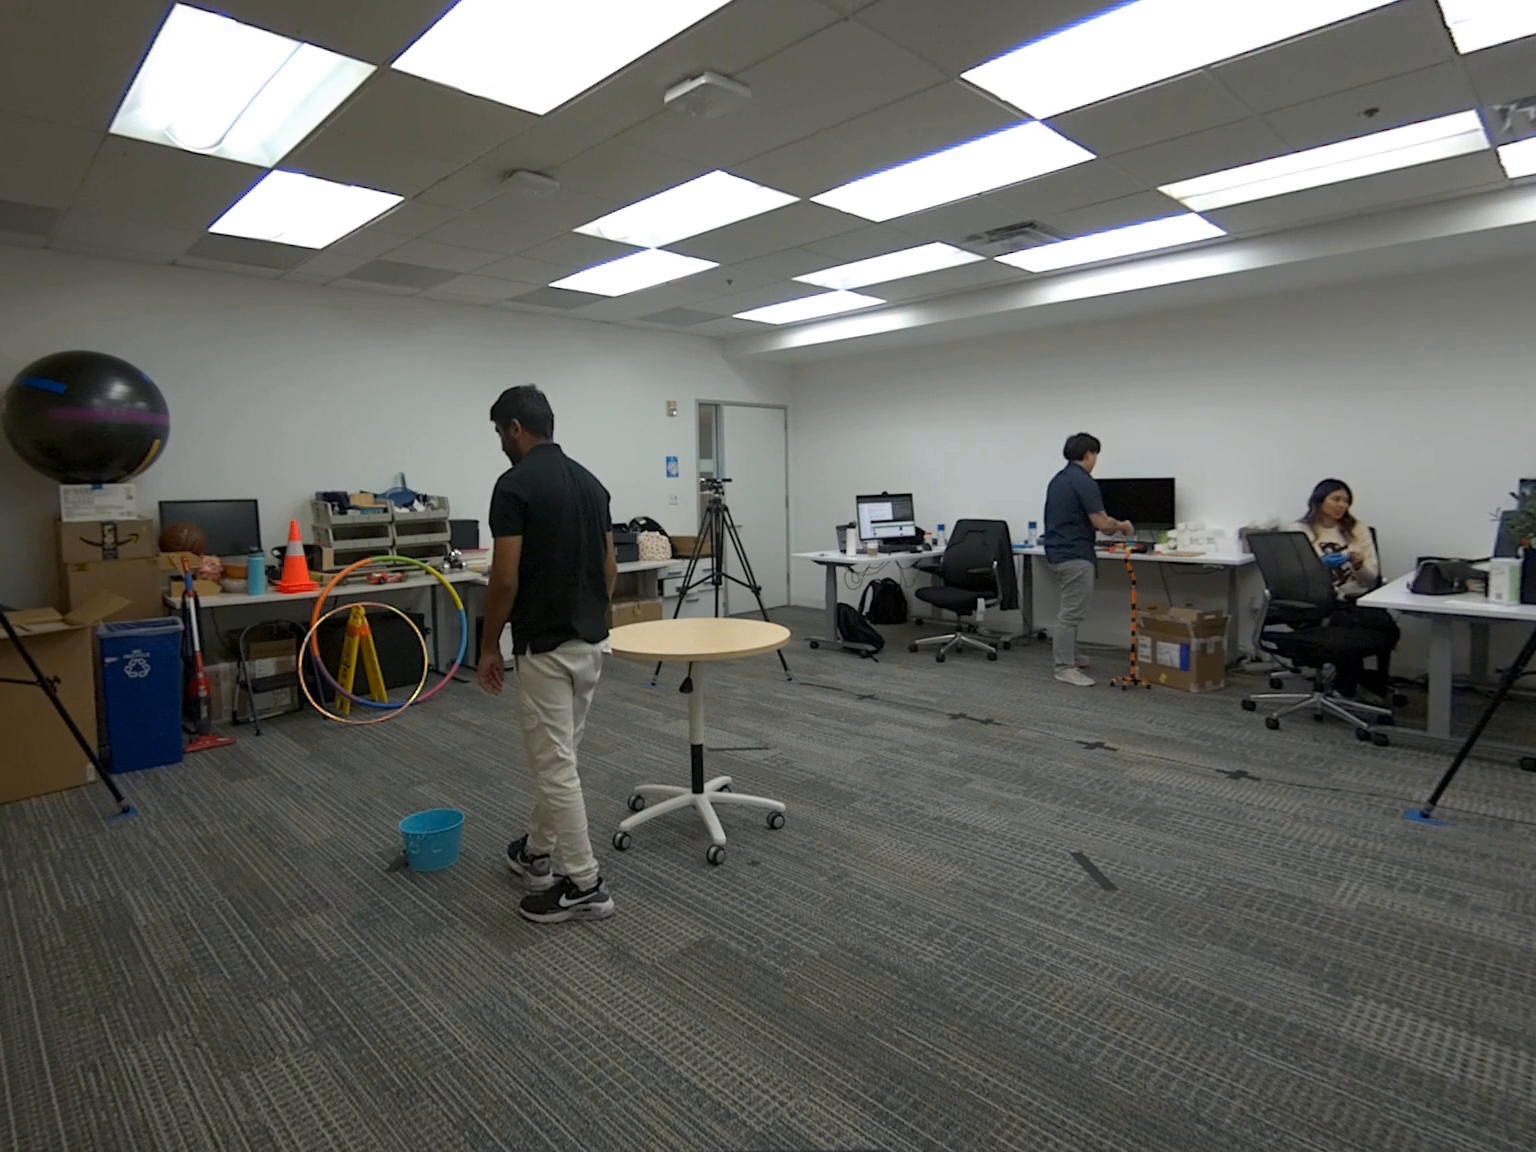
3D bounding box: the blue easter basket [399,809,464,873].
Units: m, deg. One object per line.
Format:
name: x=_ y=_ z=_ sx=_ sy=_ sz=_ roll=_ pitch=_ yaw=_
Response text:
blue easter basket: x=-1.249 y=0.984 z=3.189 sx=0.243 sy=0.155 sz=0.245 roll=-1 pitch=6 yaw=-2
